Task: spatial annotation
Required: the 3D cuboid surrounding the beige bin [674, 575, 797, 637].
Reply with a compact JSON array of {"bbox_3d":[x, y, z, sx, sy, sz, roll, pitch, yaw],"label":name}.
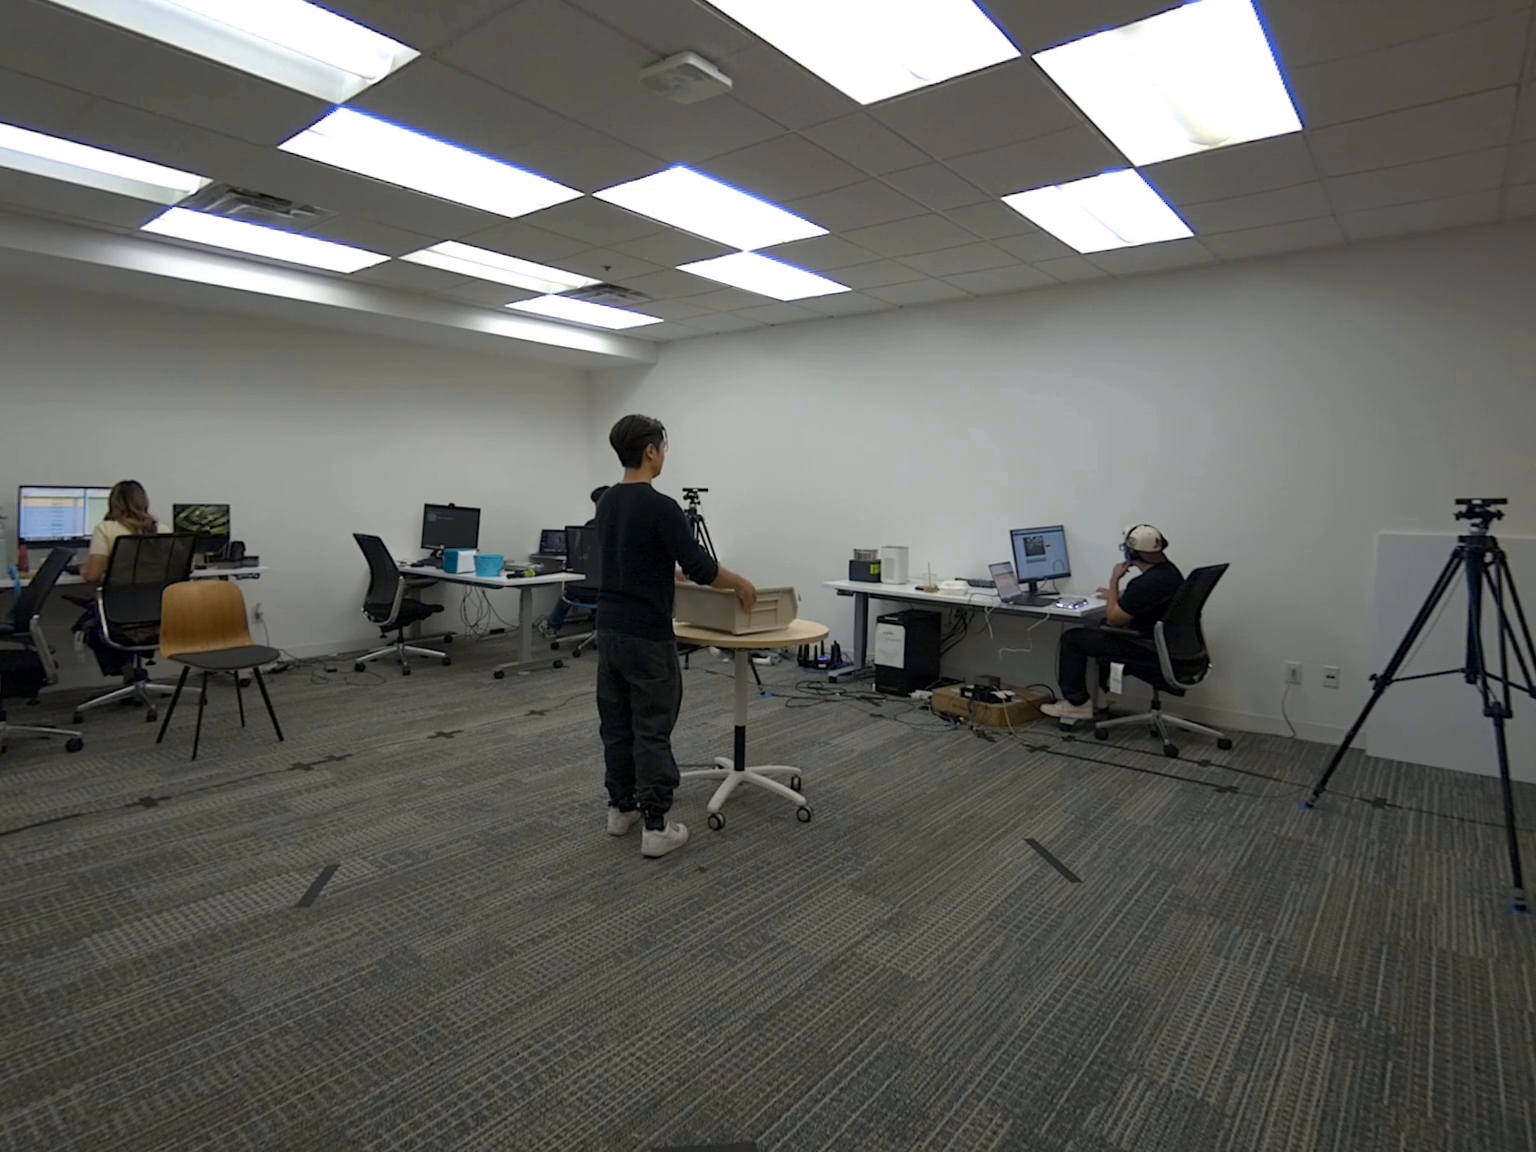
[{"bbox_3d":[-0.158,0.118,3.743,0.366,0.188,0.437,-6,8,-44],"label":"beige bin"}]
